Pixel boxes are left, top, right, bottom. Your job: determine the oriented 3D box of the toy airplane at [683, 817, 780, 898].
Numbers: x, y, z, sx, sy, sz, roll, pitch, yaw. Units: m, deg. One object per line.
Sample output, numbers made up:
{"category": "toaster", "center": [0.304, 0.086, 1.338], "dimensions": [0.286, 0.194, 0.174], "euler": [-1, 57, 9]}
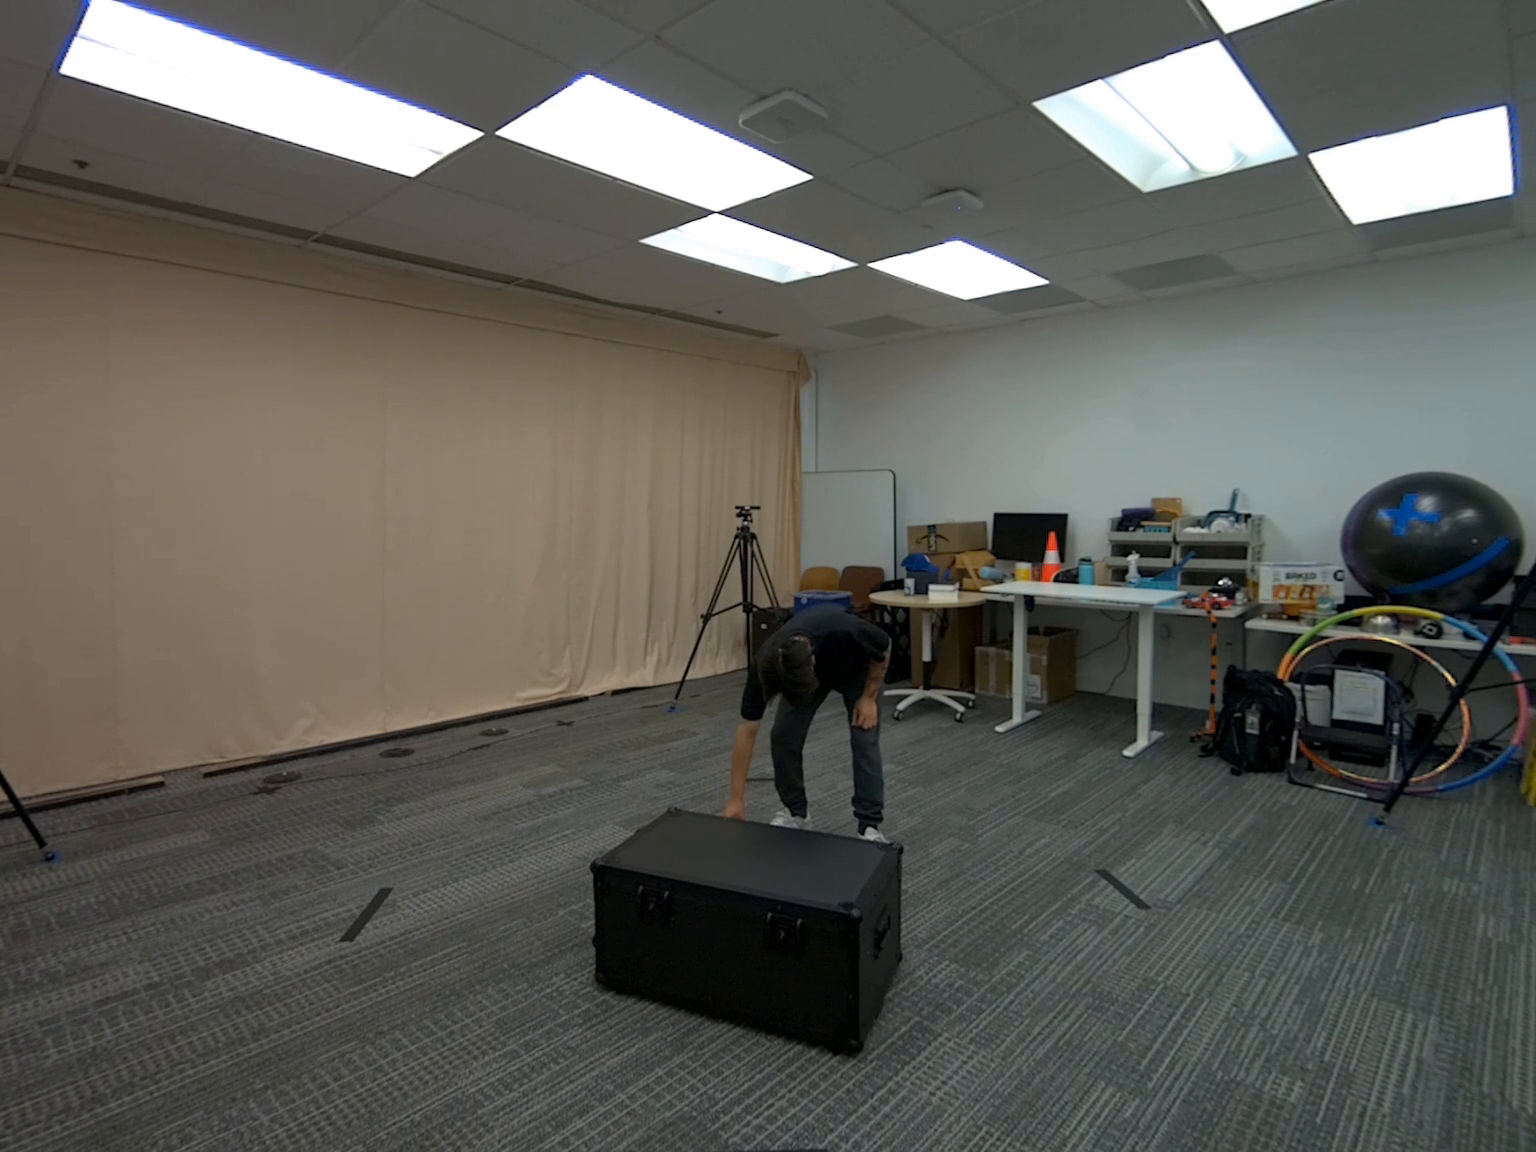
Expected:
{"category": "toy airplane", "center": [-0.139, 1.048, 3.194], "dimensions": [0.243, 0.156, 0.268], "euler": [-5, 7, -45]}
